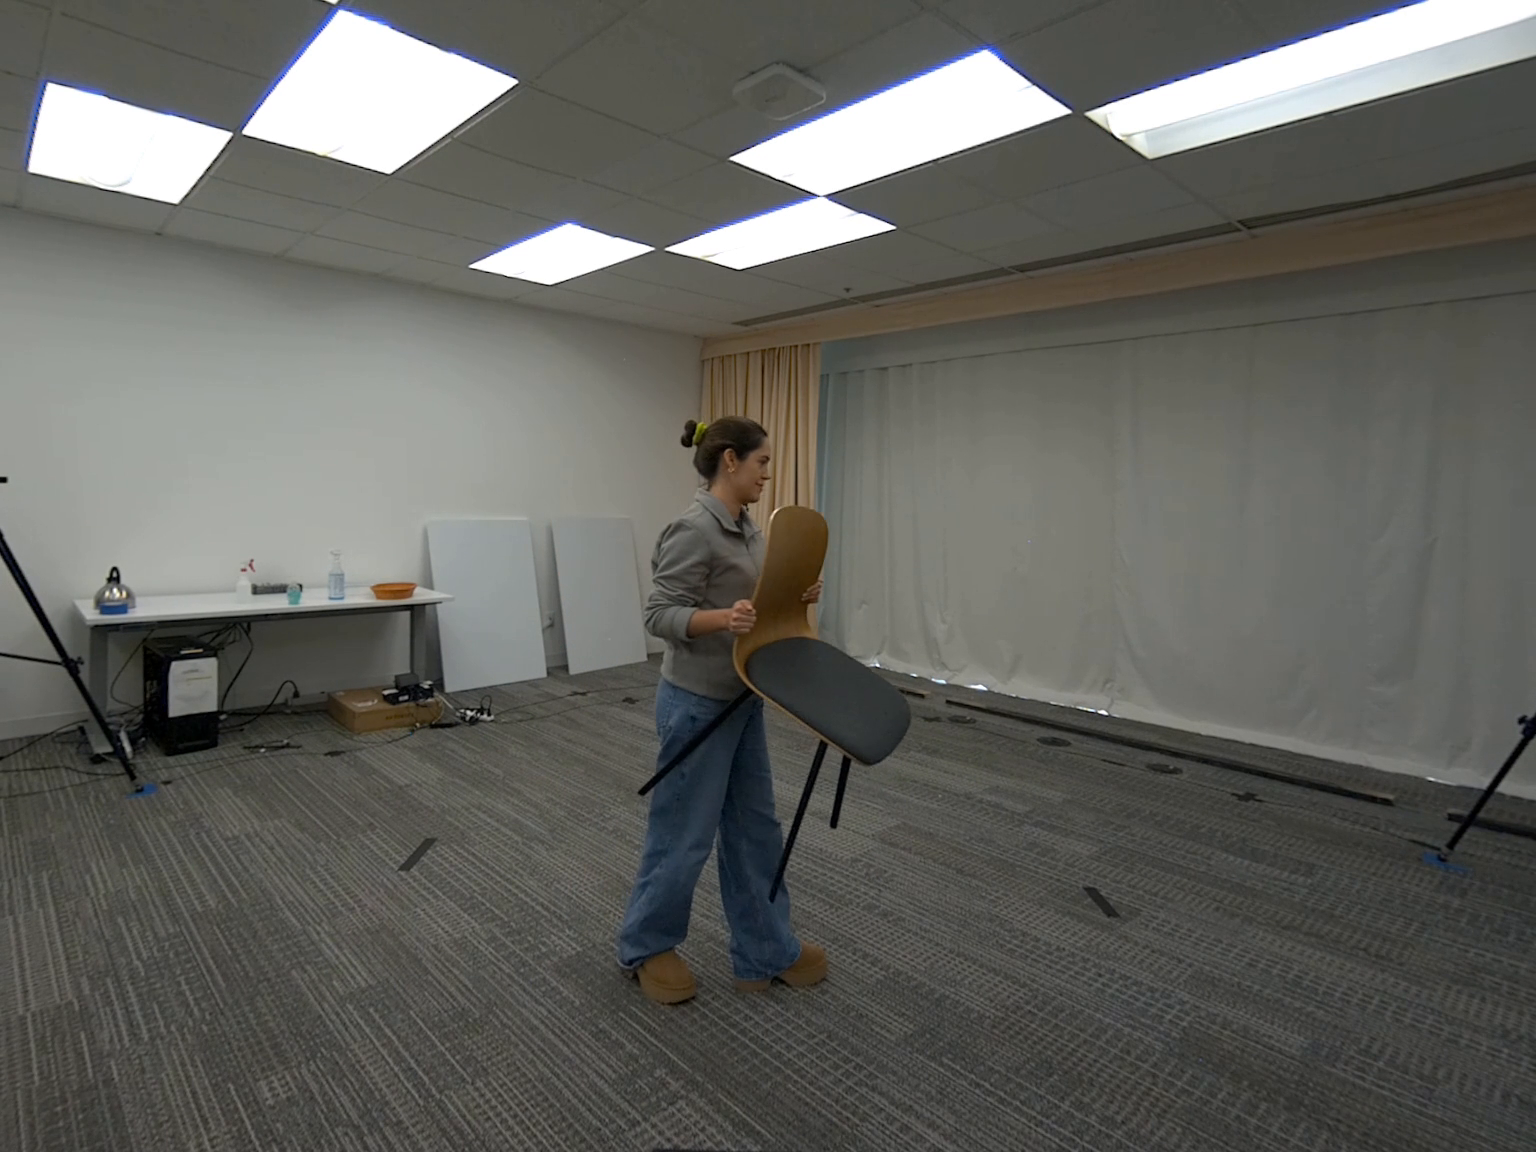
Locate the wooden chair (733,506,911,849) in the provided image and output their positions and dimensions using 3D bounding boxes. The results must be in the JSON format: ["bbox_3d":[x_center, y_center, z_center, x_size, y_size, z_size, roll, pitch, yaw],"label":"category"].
[{"bbox_3d":[0.106,0.316,2.238,0.534,0.871,0.471,29,19,21],"label":"wooden chair"}]
